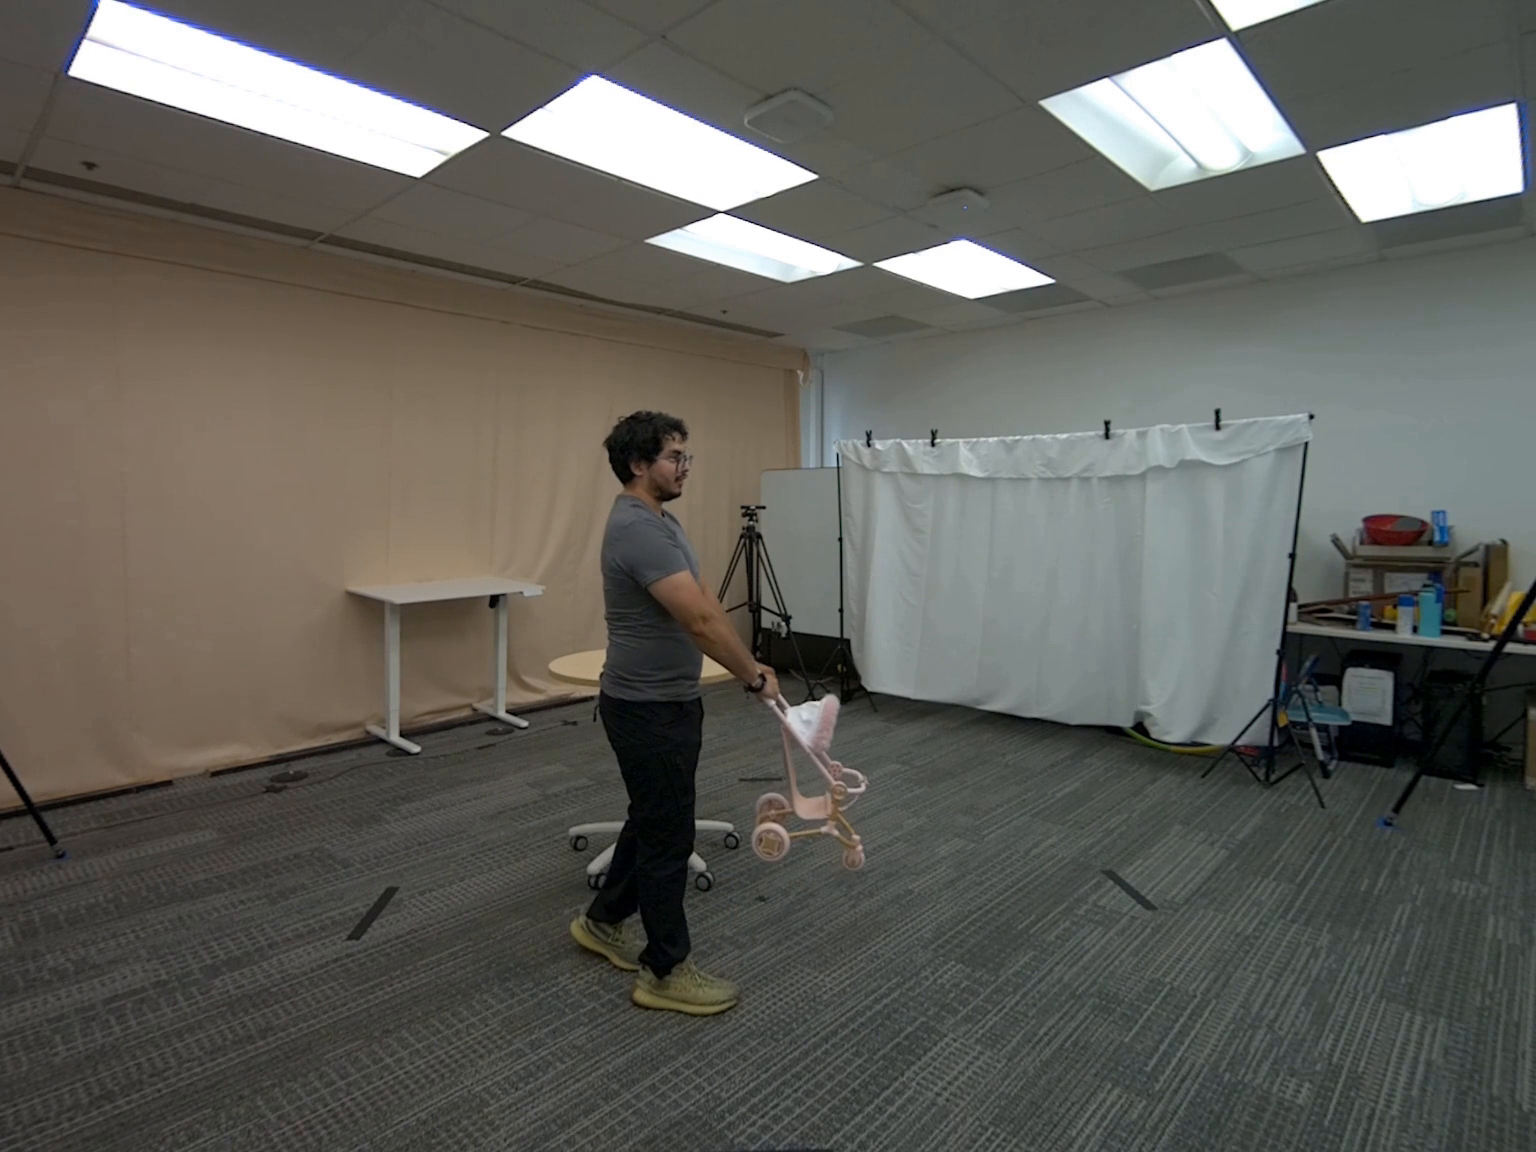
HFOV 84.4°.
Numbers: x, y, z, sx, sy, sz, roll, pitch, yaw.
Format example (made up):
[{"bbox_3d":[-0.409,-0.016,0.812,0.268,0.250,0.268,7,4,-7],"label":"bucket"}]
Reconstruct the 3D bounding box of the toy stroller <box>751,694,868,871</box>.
[{"bbox_3d":[0.134,0.584,2.428,0.344,0.534,0.279,3,2,7],"label":"toy stroller"}]
